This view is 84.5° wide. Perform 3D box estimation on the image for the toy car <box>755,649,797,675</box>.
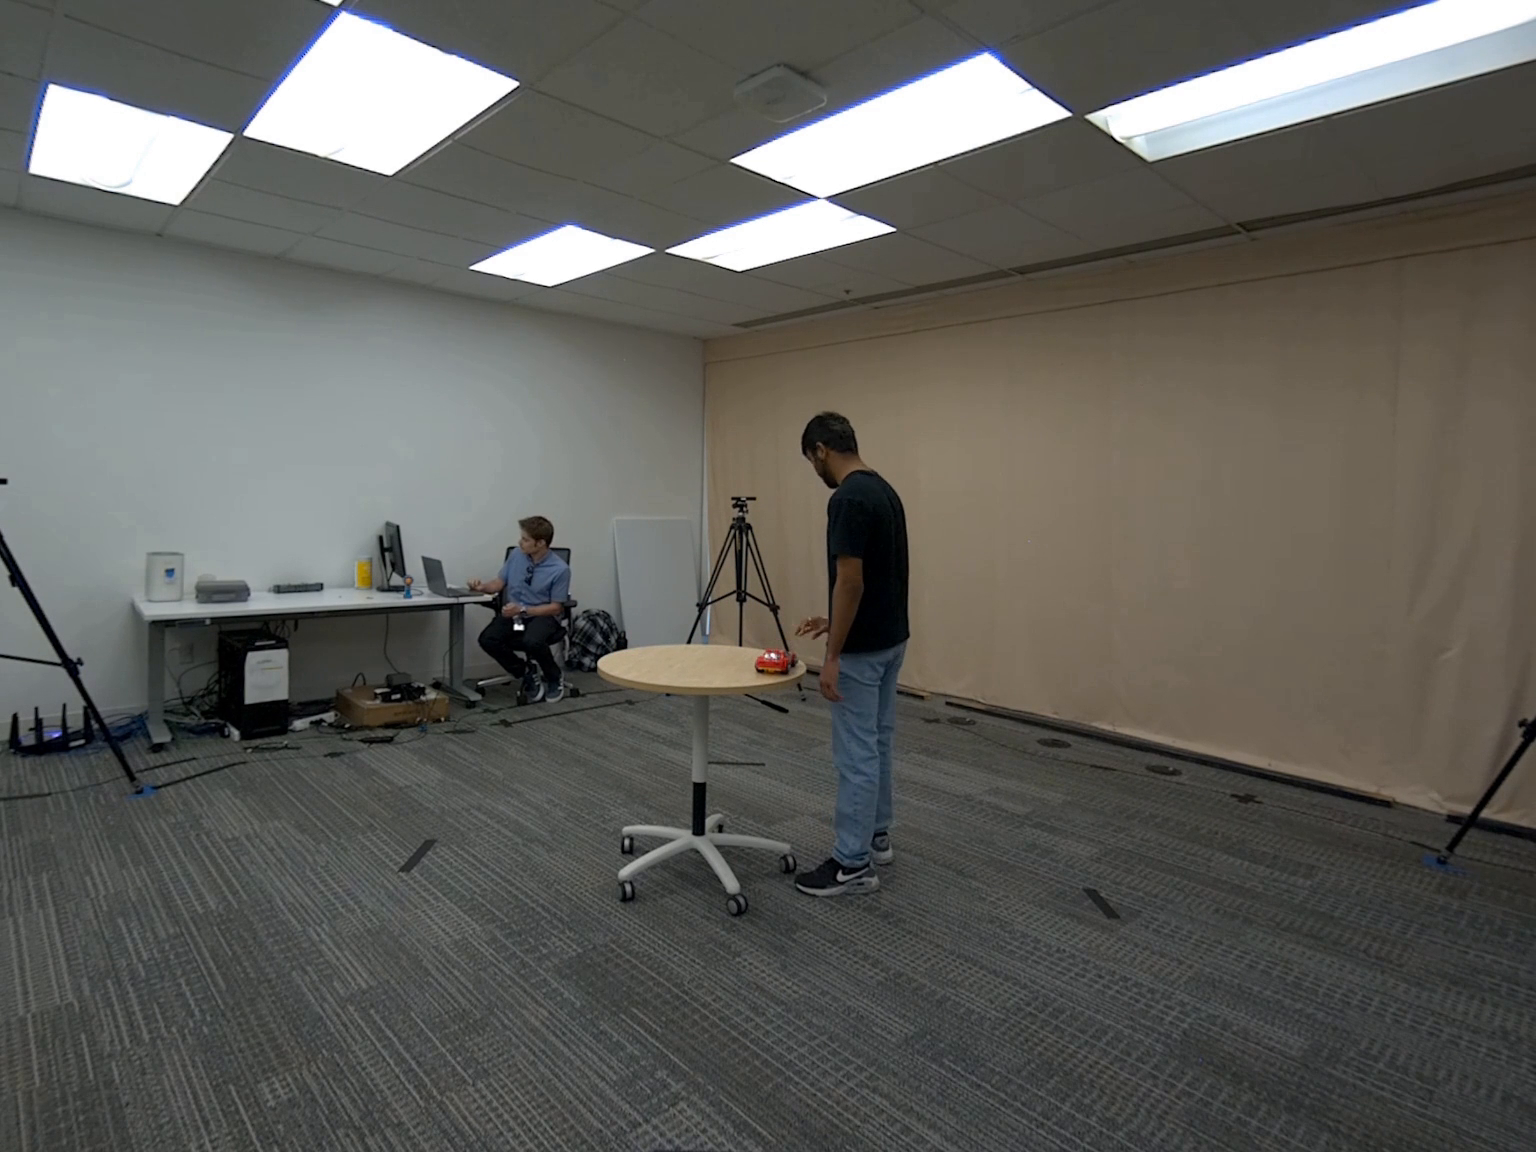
[{"bbox_3d":[0.023,0.303,3.007,0.132,0.083,0.250,2,-6,13],"label":"toy car"}]
